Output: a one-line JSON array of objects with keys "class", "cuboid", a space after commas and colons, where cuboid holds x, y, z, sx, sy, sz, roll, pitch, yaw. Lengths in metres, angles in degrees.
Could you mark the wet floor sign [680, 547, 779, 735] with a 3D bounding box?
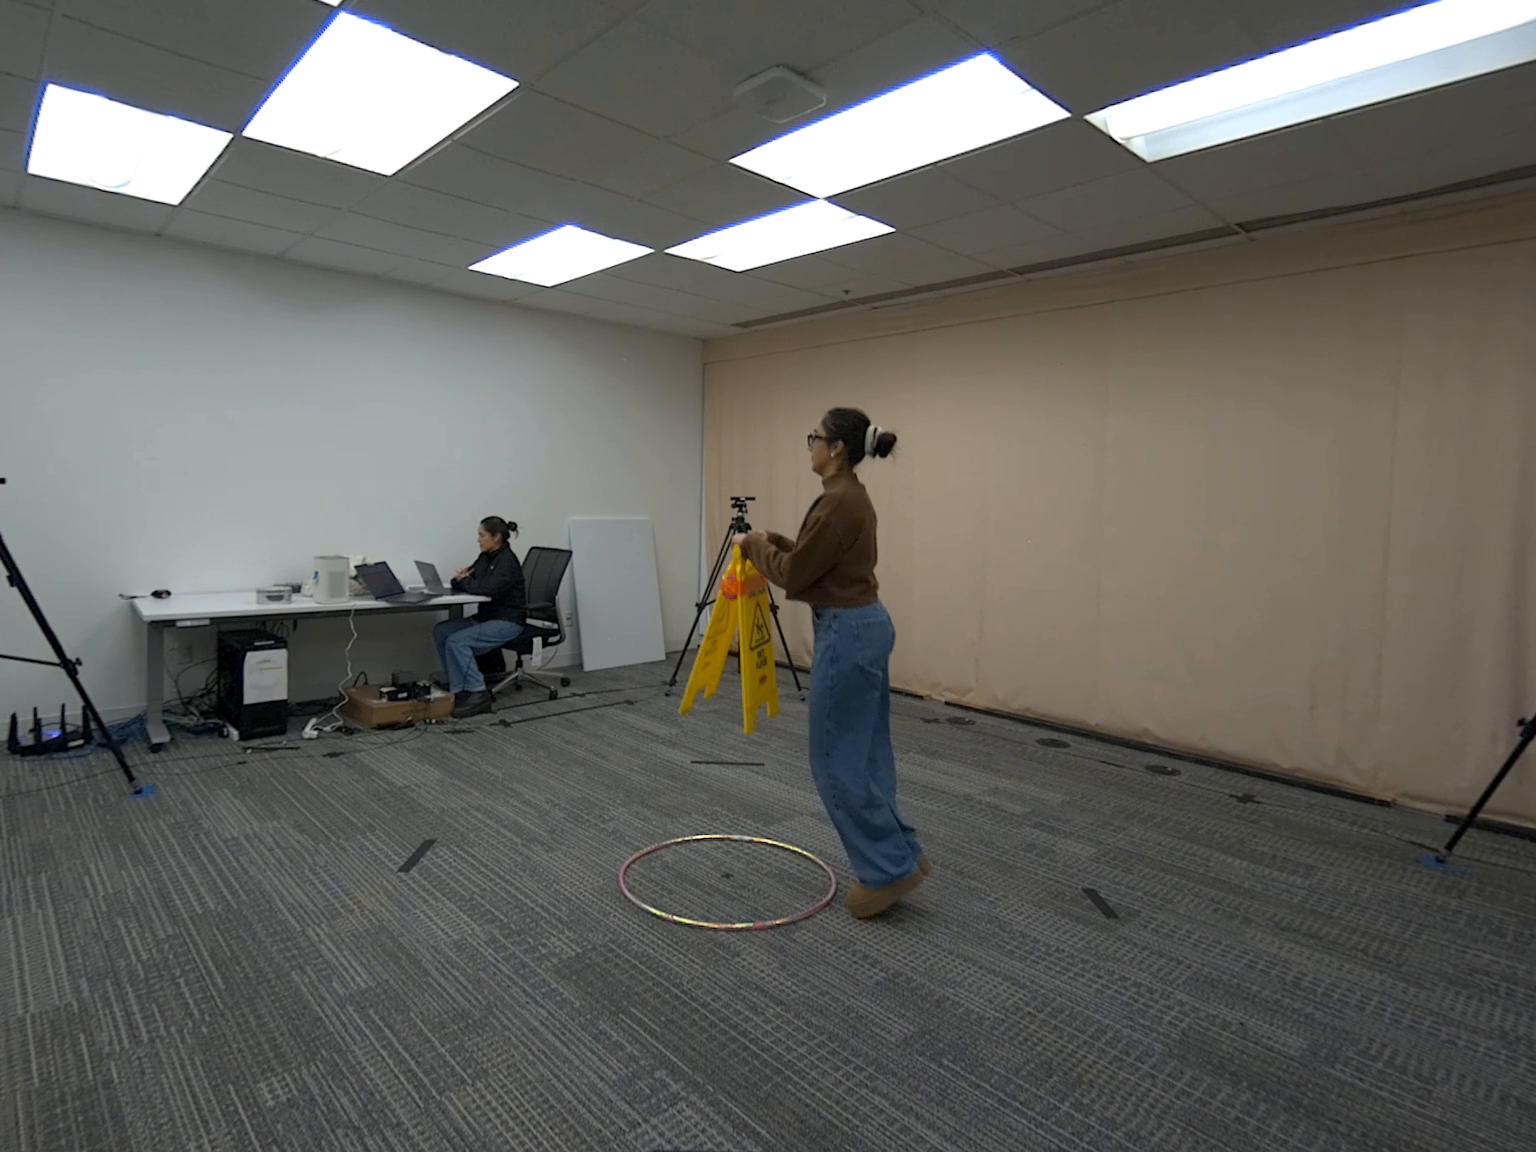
[{"class": "wet floor sign", "cuboid": [-0.110, 0.229, 3.019, 0.295, 0.642, 0.278, 10, 9, 23]}]
